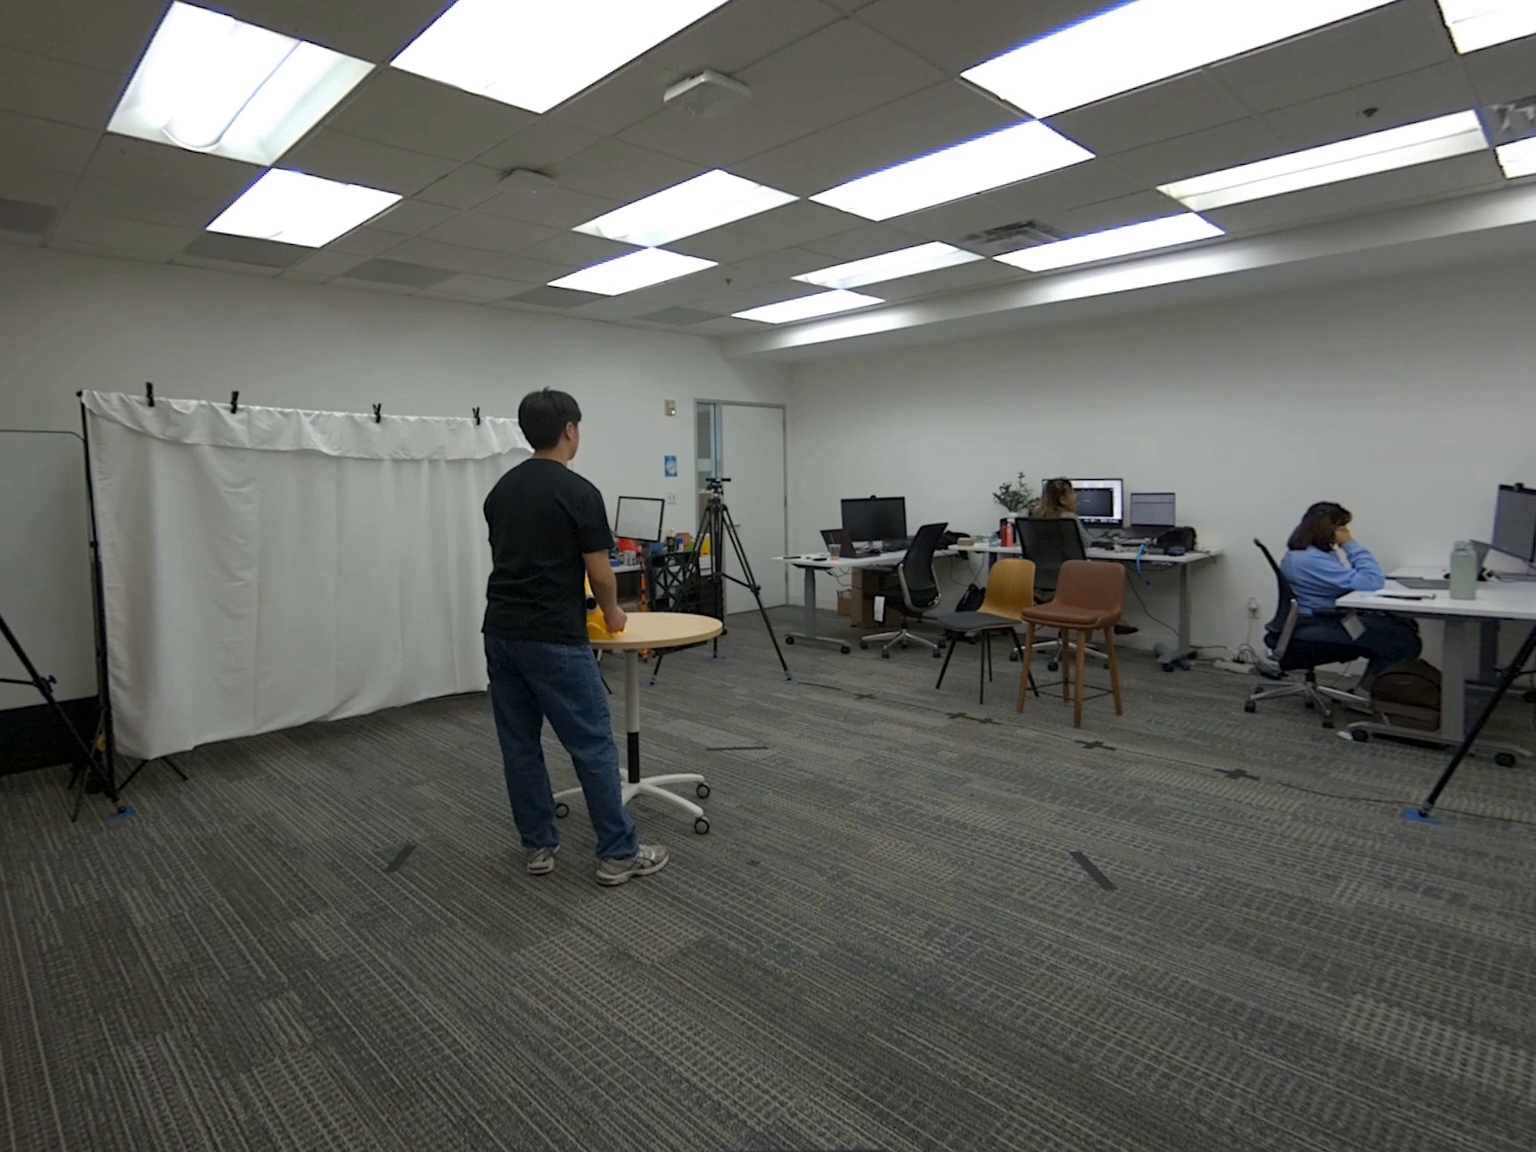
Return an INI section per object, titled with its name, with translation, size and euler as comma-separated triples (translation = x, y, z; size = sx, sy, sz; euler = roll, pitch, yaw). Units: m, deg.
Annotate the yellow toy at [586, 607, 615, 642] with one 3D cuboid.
[yellow toy]
translation = -0.663, 0.113, 3.344
size = 0.197, 0.230, 0.201
euler = 1, 4, 21
